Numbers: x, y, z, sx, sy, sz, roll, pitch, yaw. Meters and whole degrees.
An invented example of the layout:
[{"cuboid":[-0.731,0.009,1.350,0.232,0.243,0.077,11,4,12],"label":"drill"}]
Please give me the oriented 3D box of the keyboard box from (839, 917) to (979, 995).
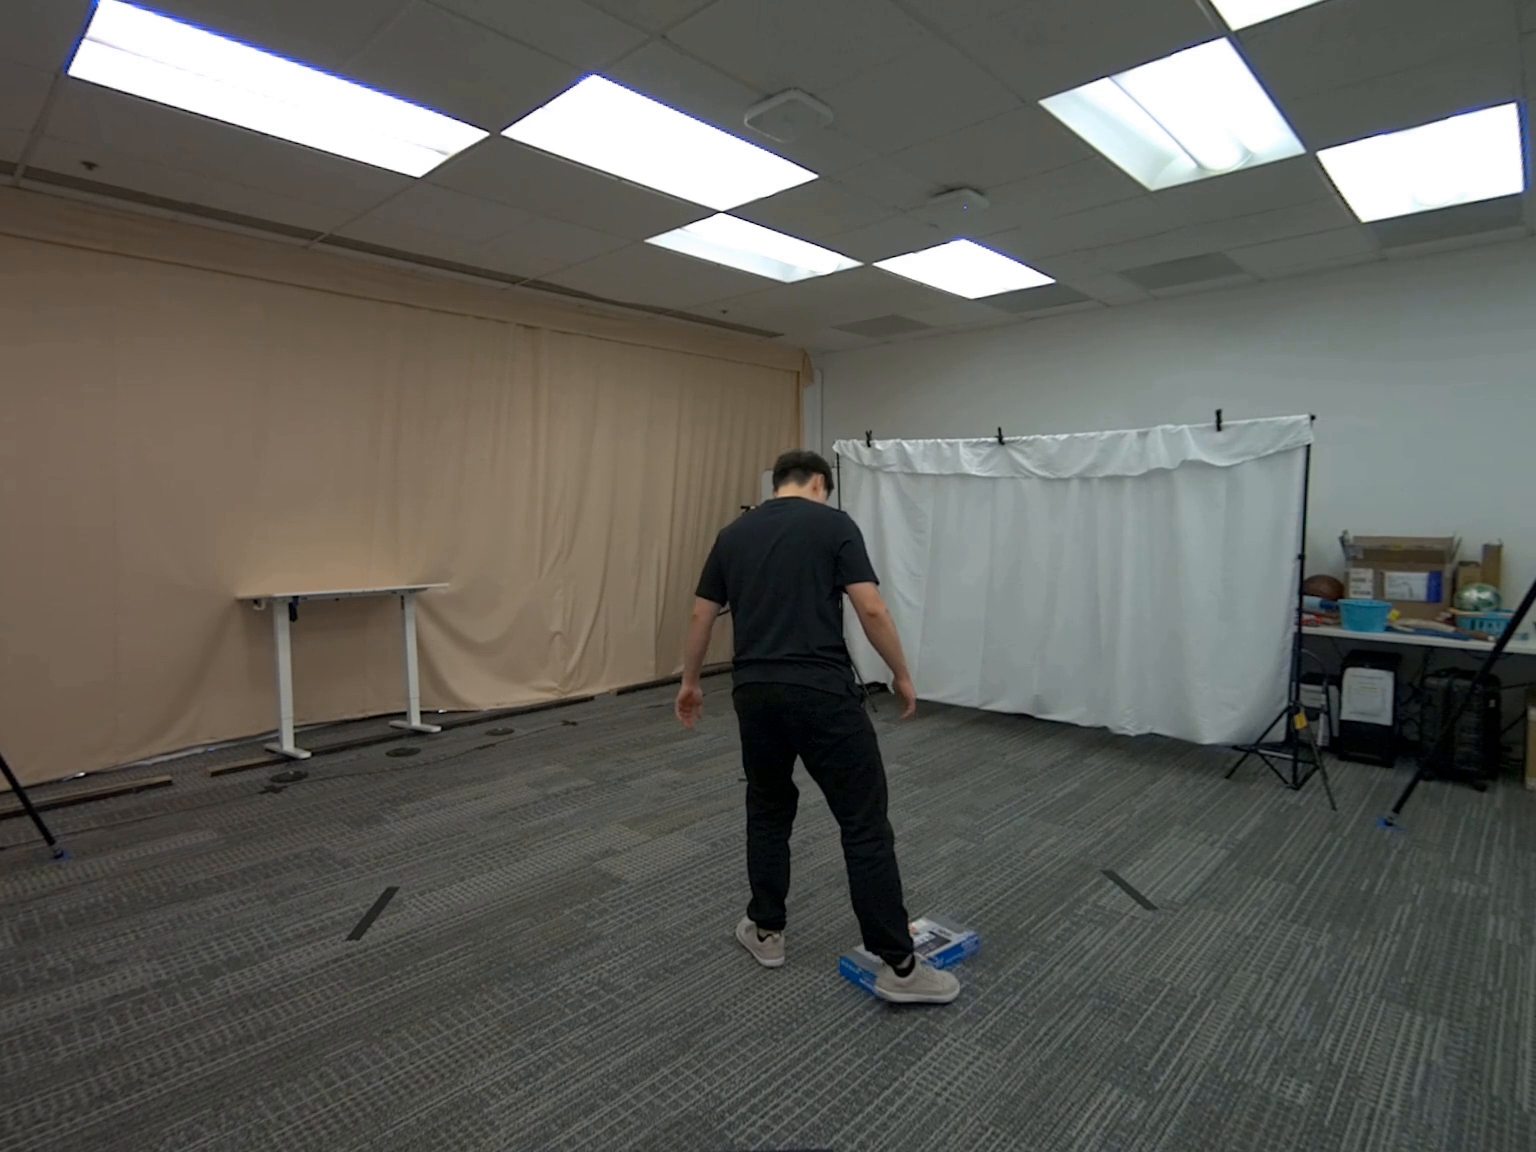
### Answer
[{"cuboid":[0.439,1.150,2.563,0.424,0.059,0.182,-4,6,-37],"label":"keyboard box"}]
